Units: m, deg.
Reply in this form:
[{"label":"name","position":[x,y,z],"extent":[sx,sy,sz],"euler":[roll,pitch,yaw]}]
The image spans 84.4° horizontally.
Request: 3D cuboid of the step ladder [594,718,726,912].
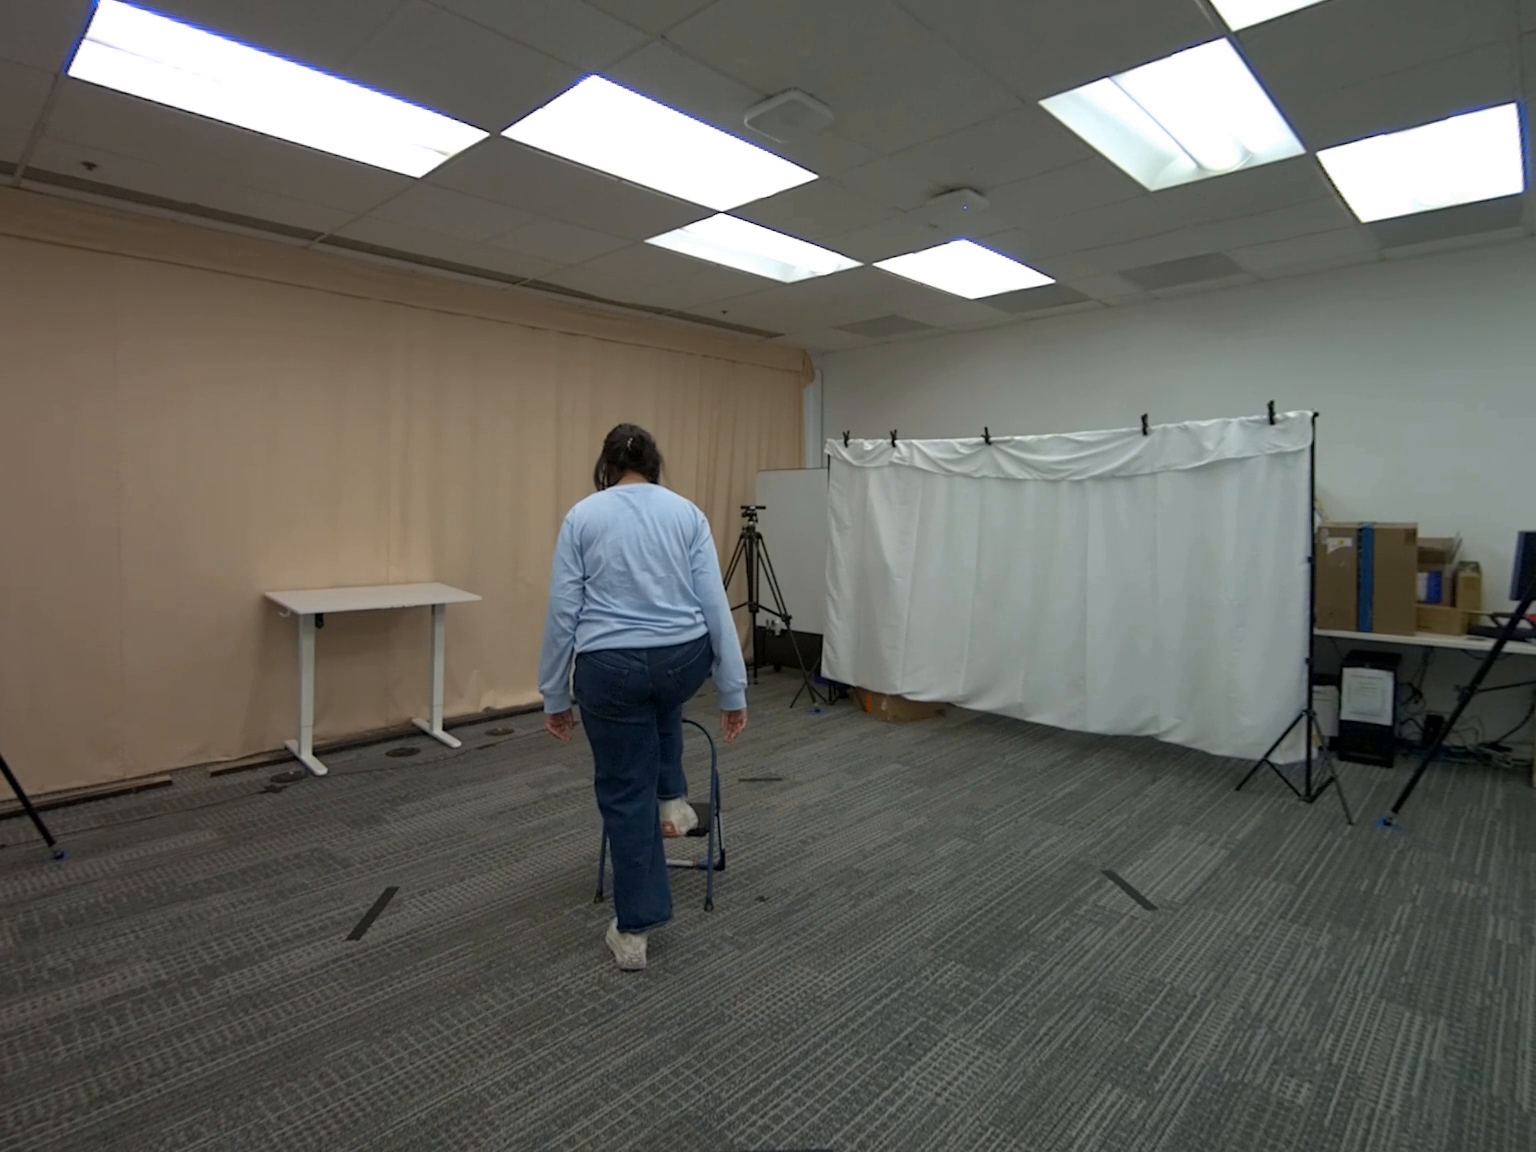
[{"label":"step ladder","position":[-0.387,0.836,3.086],"extent":[0.435,0.605,0.347],"euler":[0,3,8]}]
